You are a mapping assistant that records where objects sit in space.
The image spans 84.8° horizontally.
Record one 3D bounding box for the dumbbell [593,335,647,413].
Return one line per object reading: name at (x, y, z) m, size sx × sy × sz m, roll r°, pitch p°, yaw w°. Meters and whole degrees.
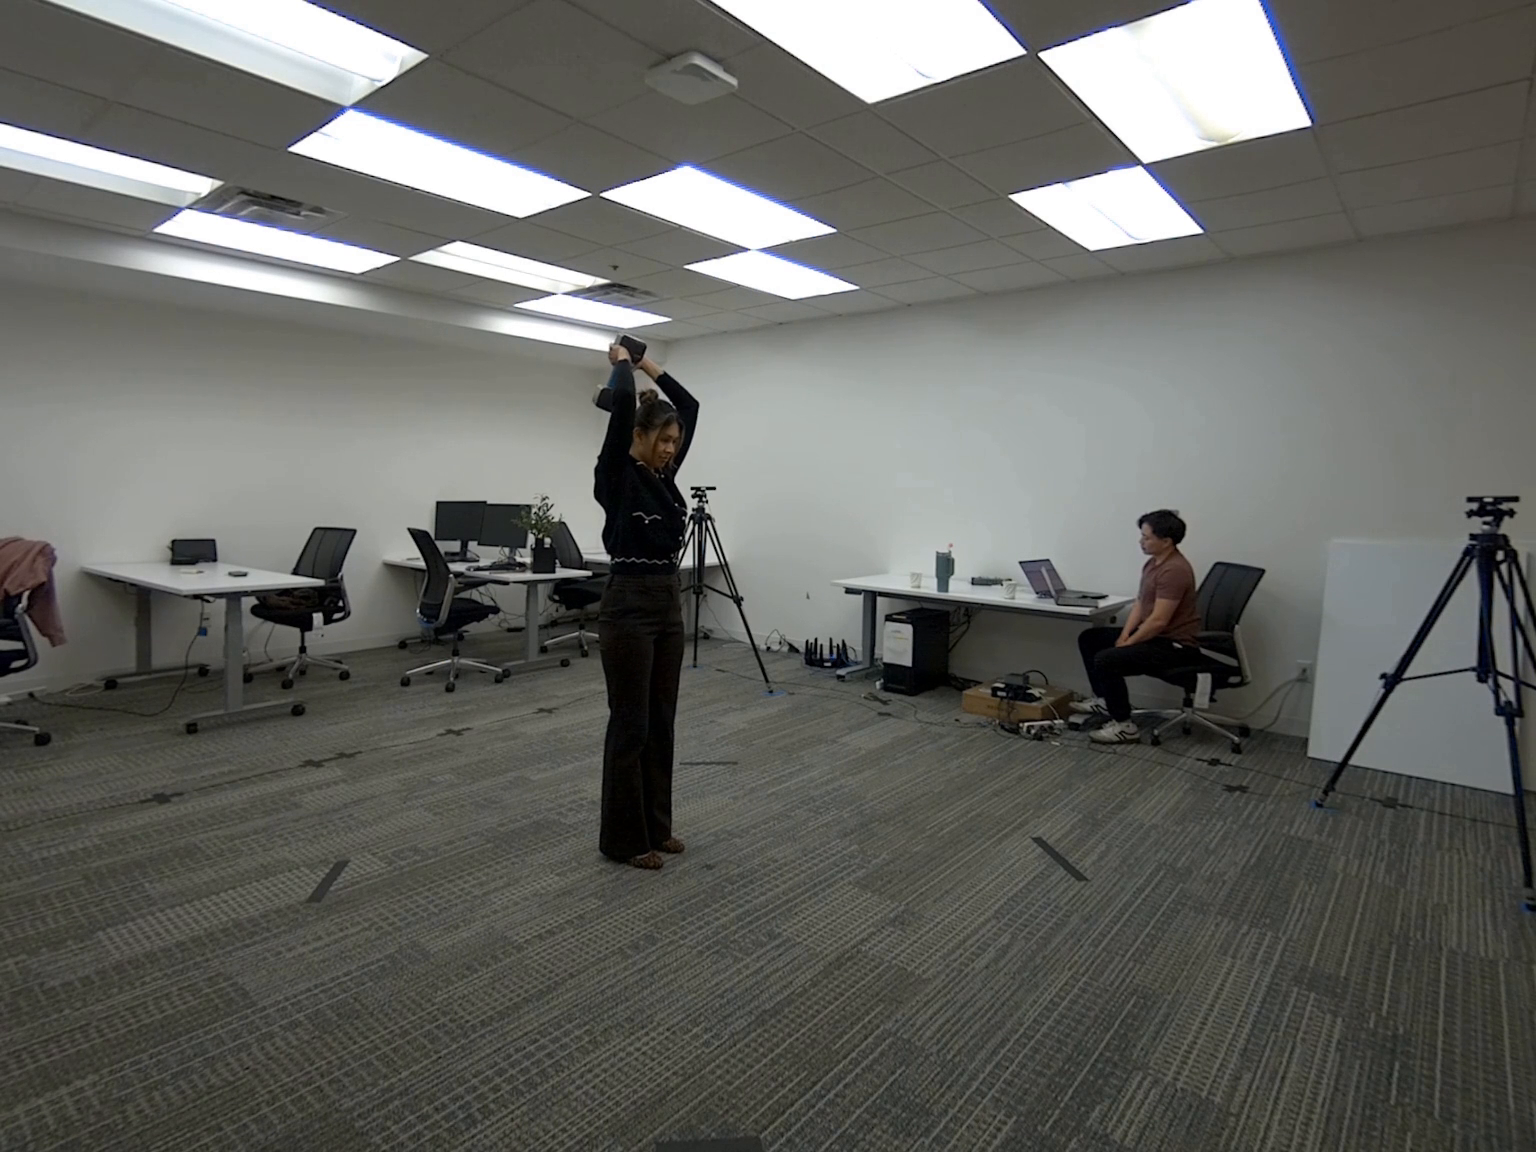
dumbbell at (-0.576, -0.769, 3.226) m, size 0.122 × 0.292 × 0.110 m, roll 23°, pitch 14°, yaw -5°
